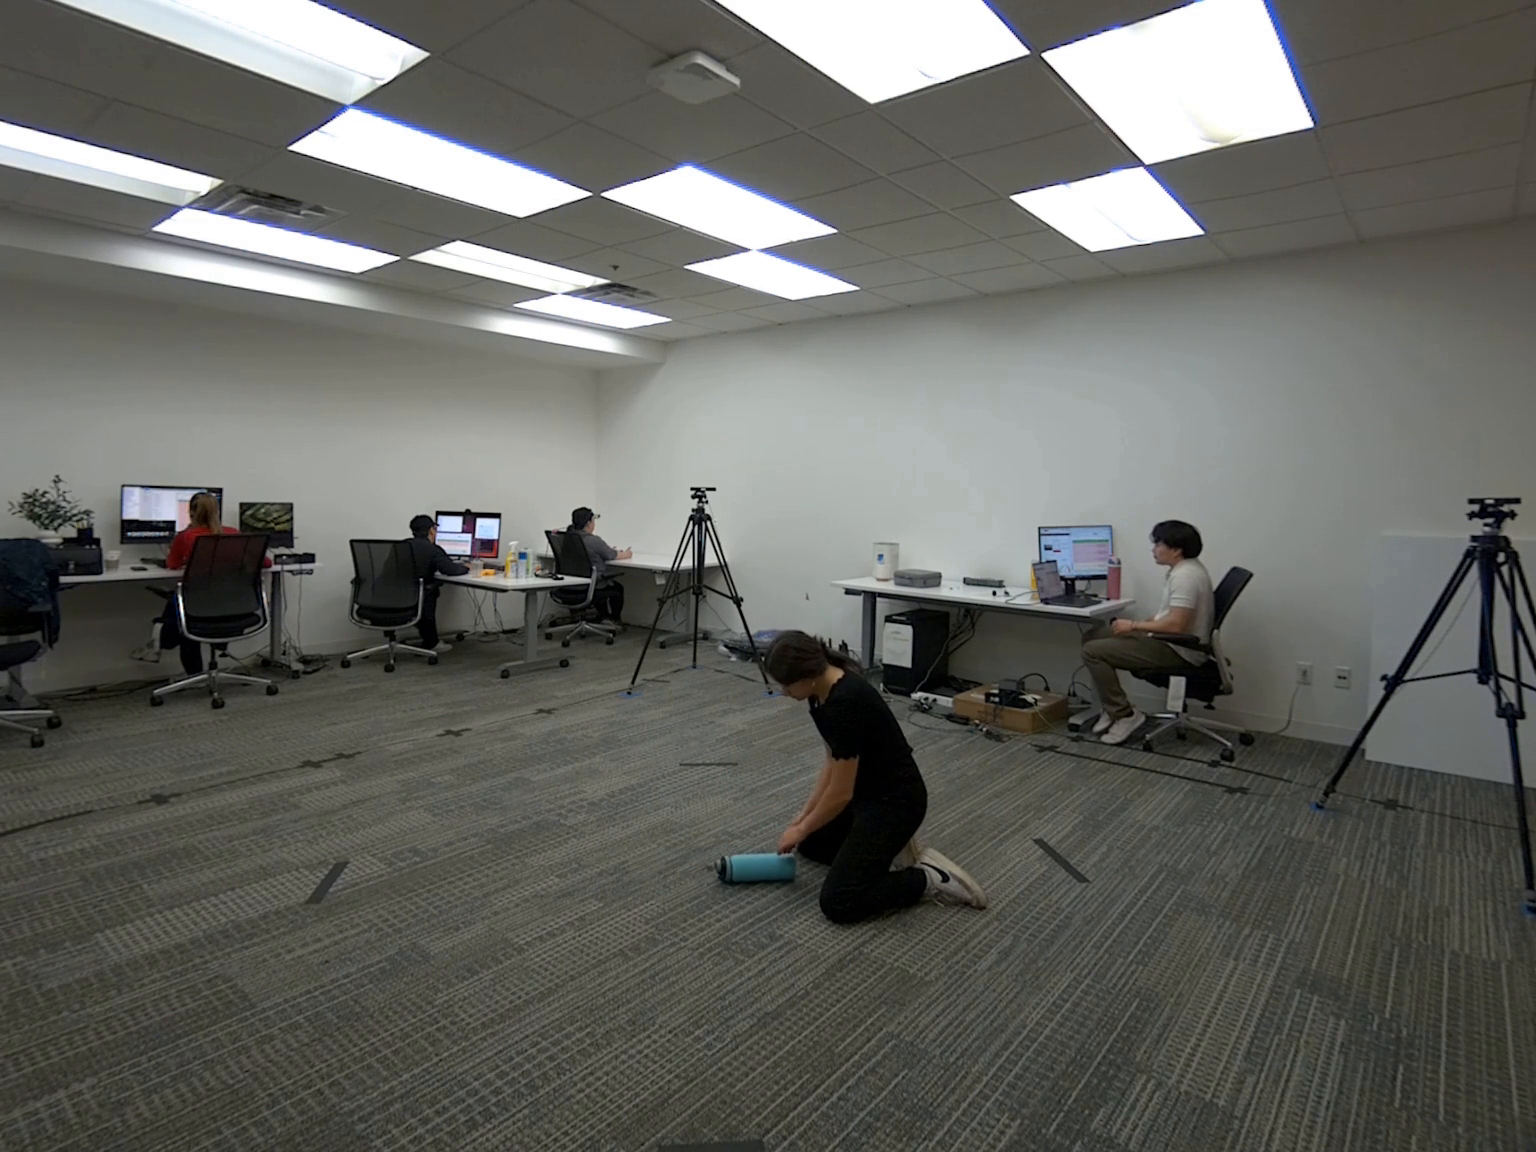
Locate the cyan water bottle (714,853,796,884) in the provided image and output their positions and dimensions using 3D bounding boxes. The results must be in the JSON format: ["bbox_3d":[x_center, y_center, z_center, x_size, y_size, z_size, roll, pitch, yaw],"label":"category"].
[{"bbox_3d":[-0.056,1.034,3.018,0.280,0.092,0.093,1,4,-10],"label":"cyan water bottle"}]
